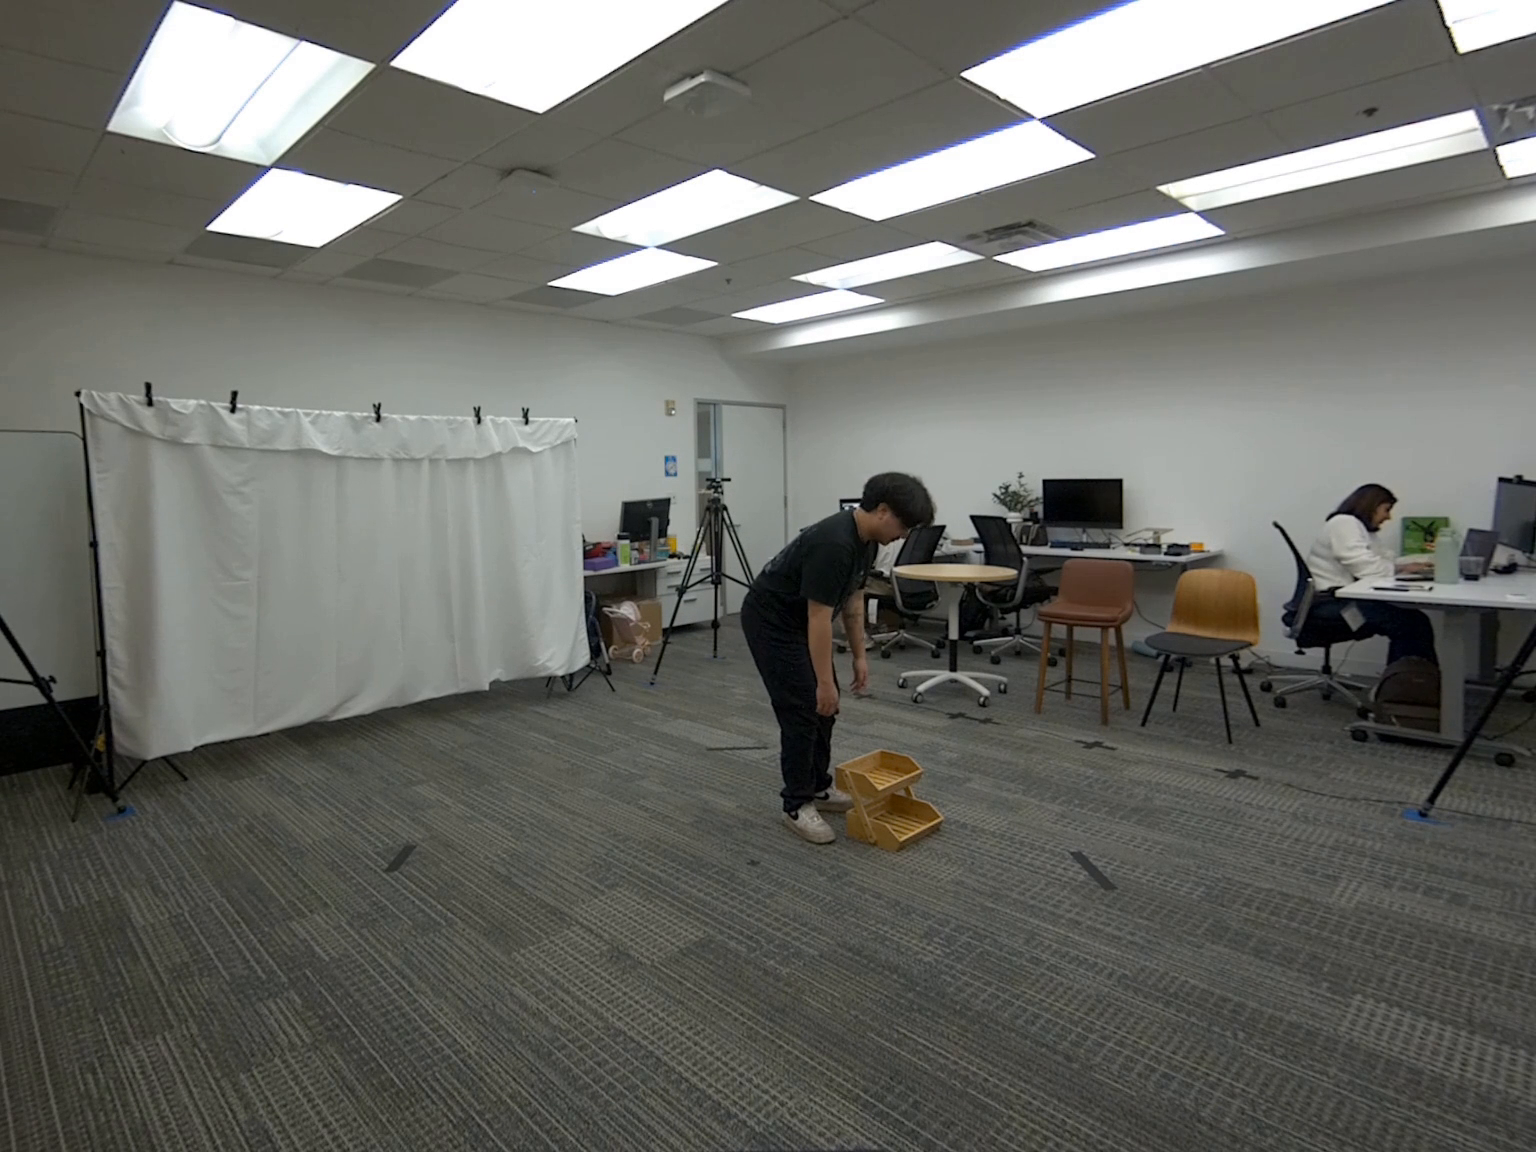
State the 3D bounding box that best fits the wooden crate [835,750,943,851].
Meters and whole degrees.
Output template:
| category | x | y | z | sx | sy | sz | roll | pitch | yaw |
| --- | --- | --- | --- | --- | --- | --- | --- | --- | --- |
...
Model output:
| category | x | y | z | sx | sy | sz | roll | pitch | yaw |
| --- | --- | --- | --- | --- | --- | --- | --- | --- | --- |
| wooden crate | 0.484 | 0.872 | 3.363 | 0.311 | 0.272 | 0.316 | 3 | 6 | 45 |
